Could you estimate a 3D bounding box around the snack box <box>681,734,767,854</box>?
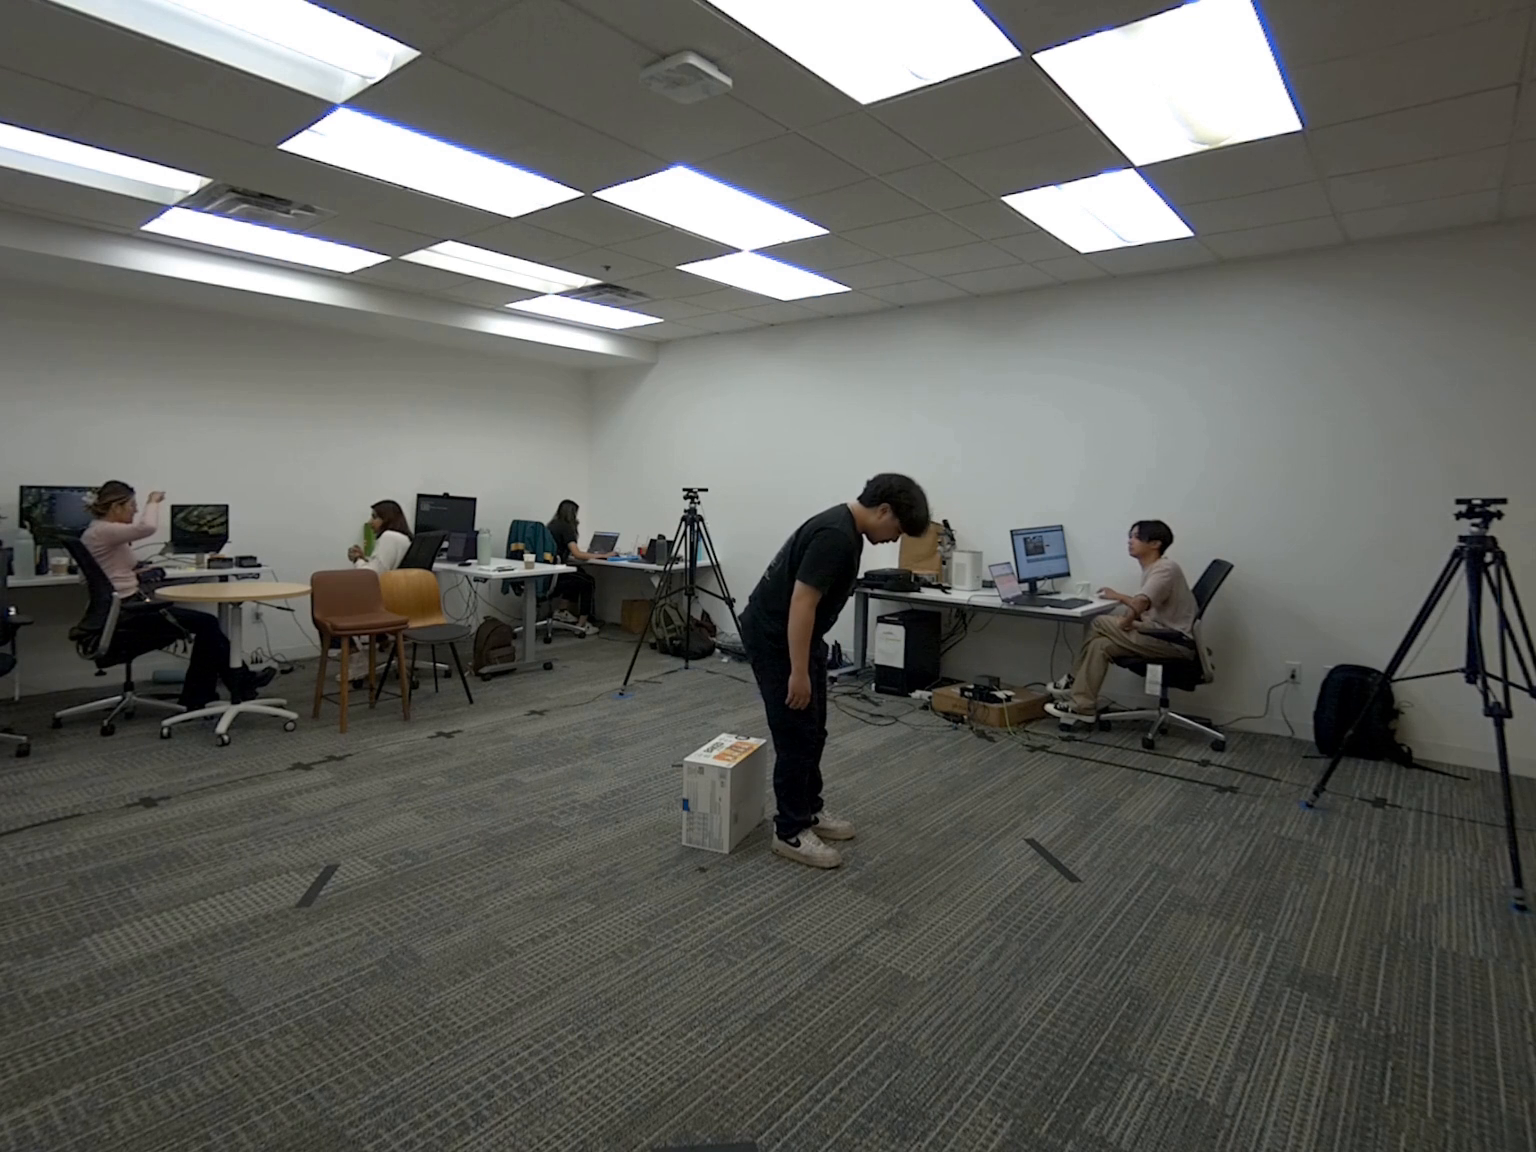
[{"bbox_3d":[-0.177,0.864,3.449,0.210,0.339,0.397,2,5,20],"label":"snack box"}]
